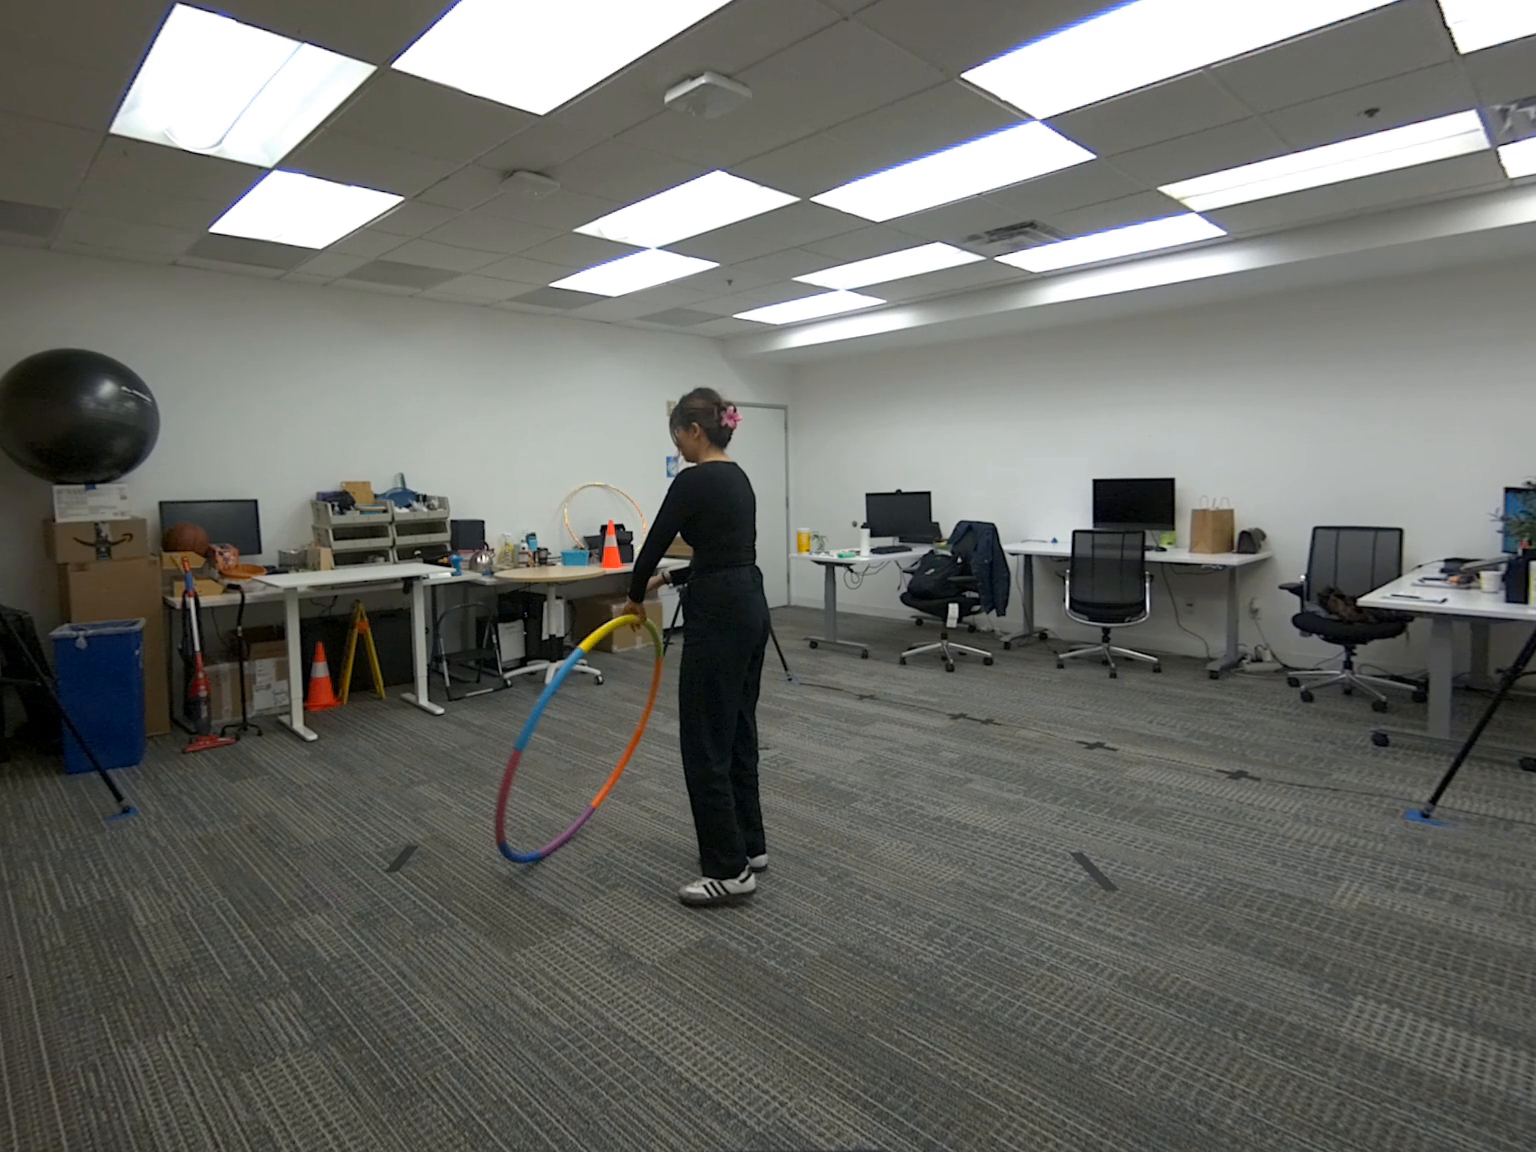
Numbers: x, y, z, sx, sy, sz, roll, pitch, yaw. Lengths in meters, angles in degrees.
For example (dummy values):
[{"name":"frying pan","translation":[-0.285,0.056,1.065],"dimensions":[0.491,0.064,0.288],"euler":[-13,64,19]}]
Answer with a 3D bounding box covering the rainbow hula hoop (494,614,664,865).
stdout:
[{"name":"rainbow hula hoop","translation":[-0.674,0.593,3.153],"dimensions":[0.036,0.972,0.963],"euler":[23,12,16]}]
